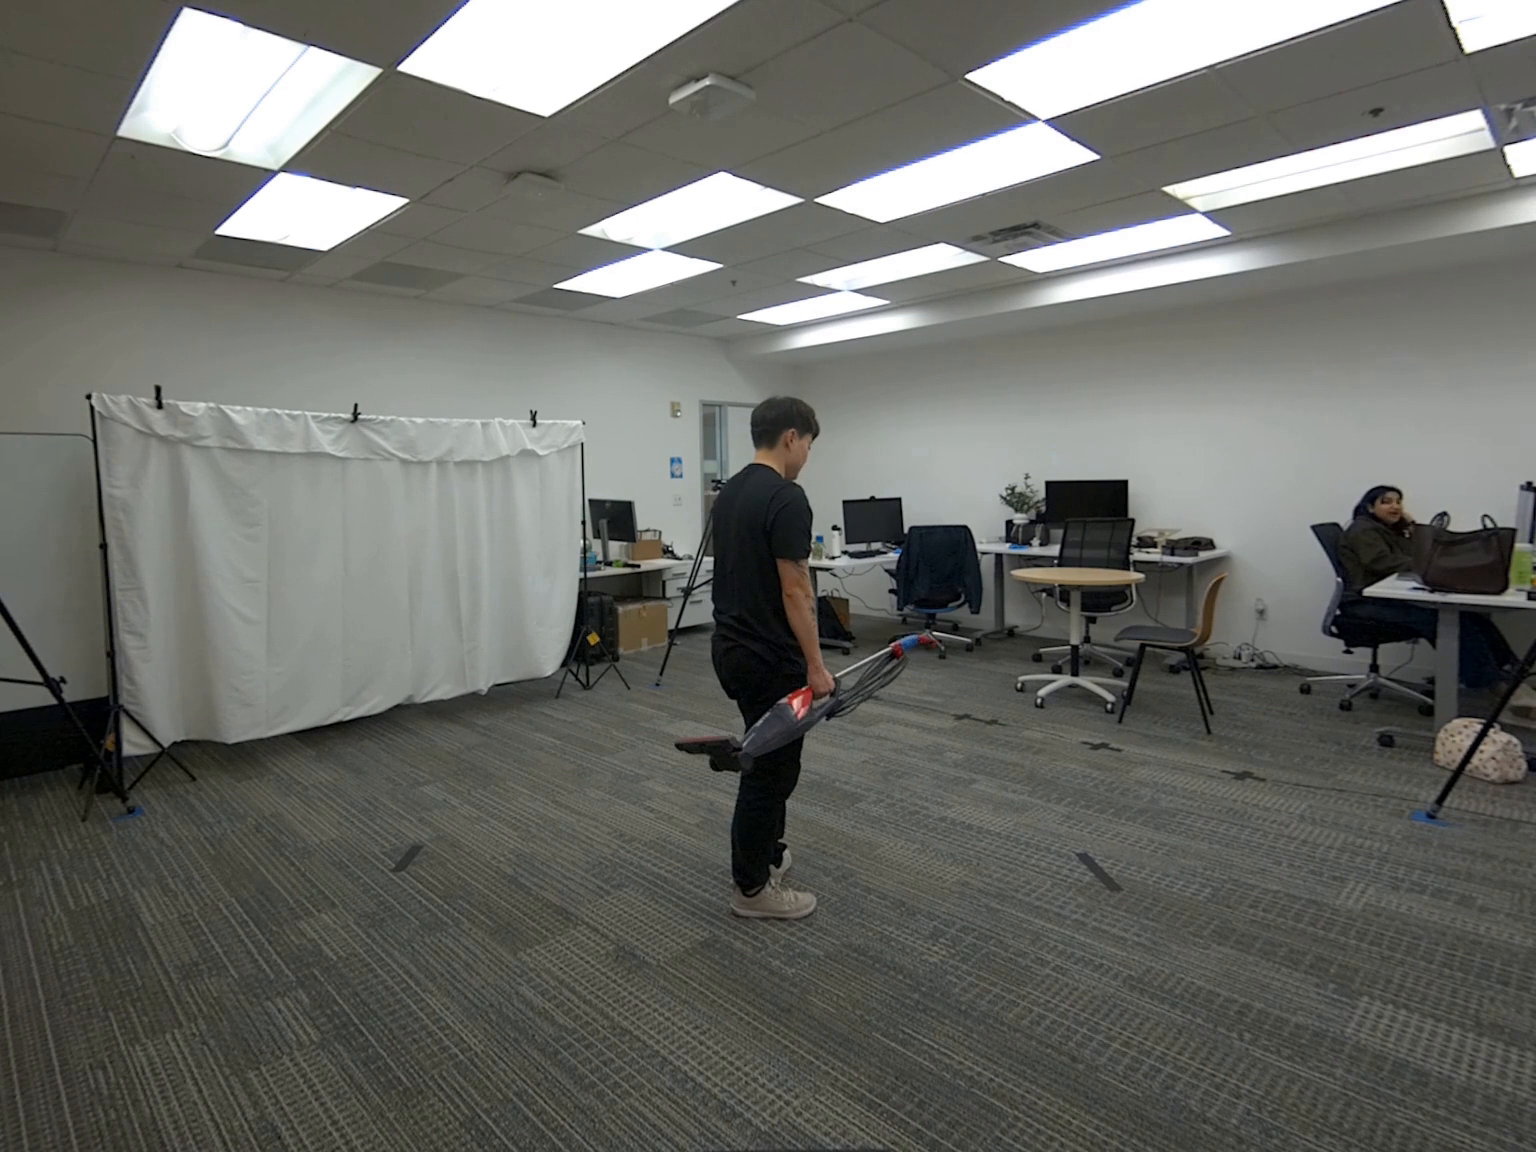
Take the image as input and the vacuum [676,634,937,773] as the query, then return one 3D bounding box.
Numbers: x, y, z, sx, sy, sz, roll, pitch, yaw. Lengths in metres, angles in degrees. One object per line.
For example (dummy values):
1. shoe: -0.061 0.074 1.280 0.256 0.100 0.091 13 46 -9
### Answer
1. vacuum: 0.233 0.367 2.670 1.029 0.144 0.257 -19 0 -41
